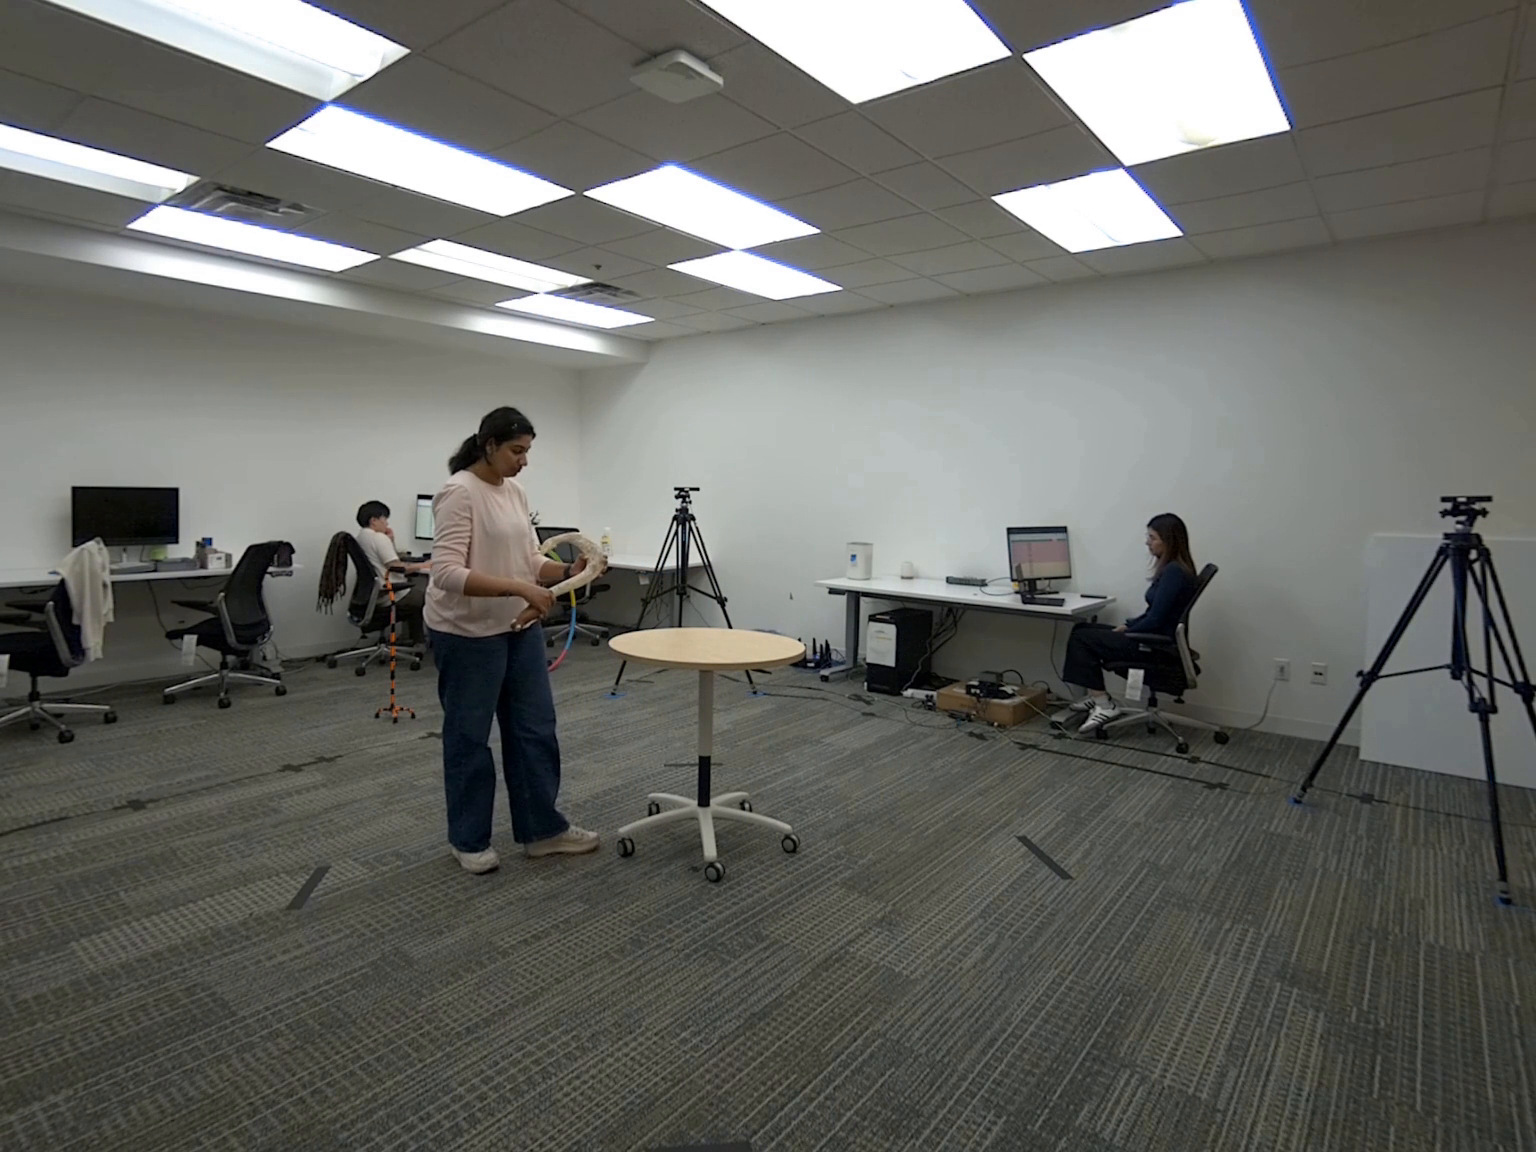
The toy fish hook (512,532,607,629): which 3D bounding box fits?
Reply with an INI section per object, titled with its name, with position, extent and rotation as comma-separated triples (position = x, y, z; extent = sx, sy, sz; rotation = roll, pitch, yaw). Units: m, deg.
[toy fish hook]
position = -0.794, 0.006, 3.017
extent = 0.228, 0.048, 0.506
rotation = 34, 45, 8
